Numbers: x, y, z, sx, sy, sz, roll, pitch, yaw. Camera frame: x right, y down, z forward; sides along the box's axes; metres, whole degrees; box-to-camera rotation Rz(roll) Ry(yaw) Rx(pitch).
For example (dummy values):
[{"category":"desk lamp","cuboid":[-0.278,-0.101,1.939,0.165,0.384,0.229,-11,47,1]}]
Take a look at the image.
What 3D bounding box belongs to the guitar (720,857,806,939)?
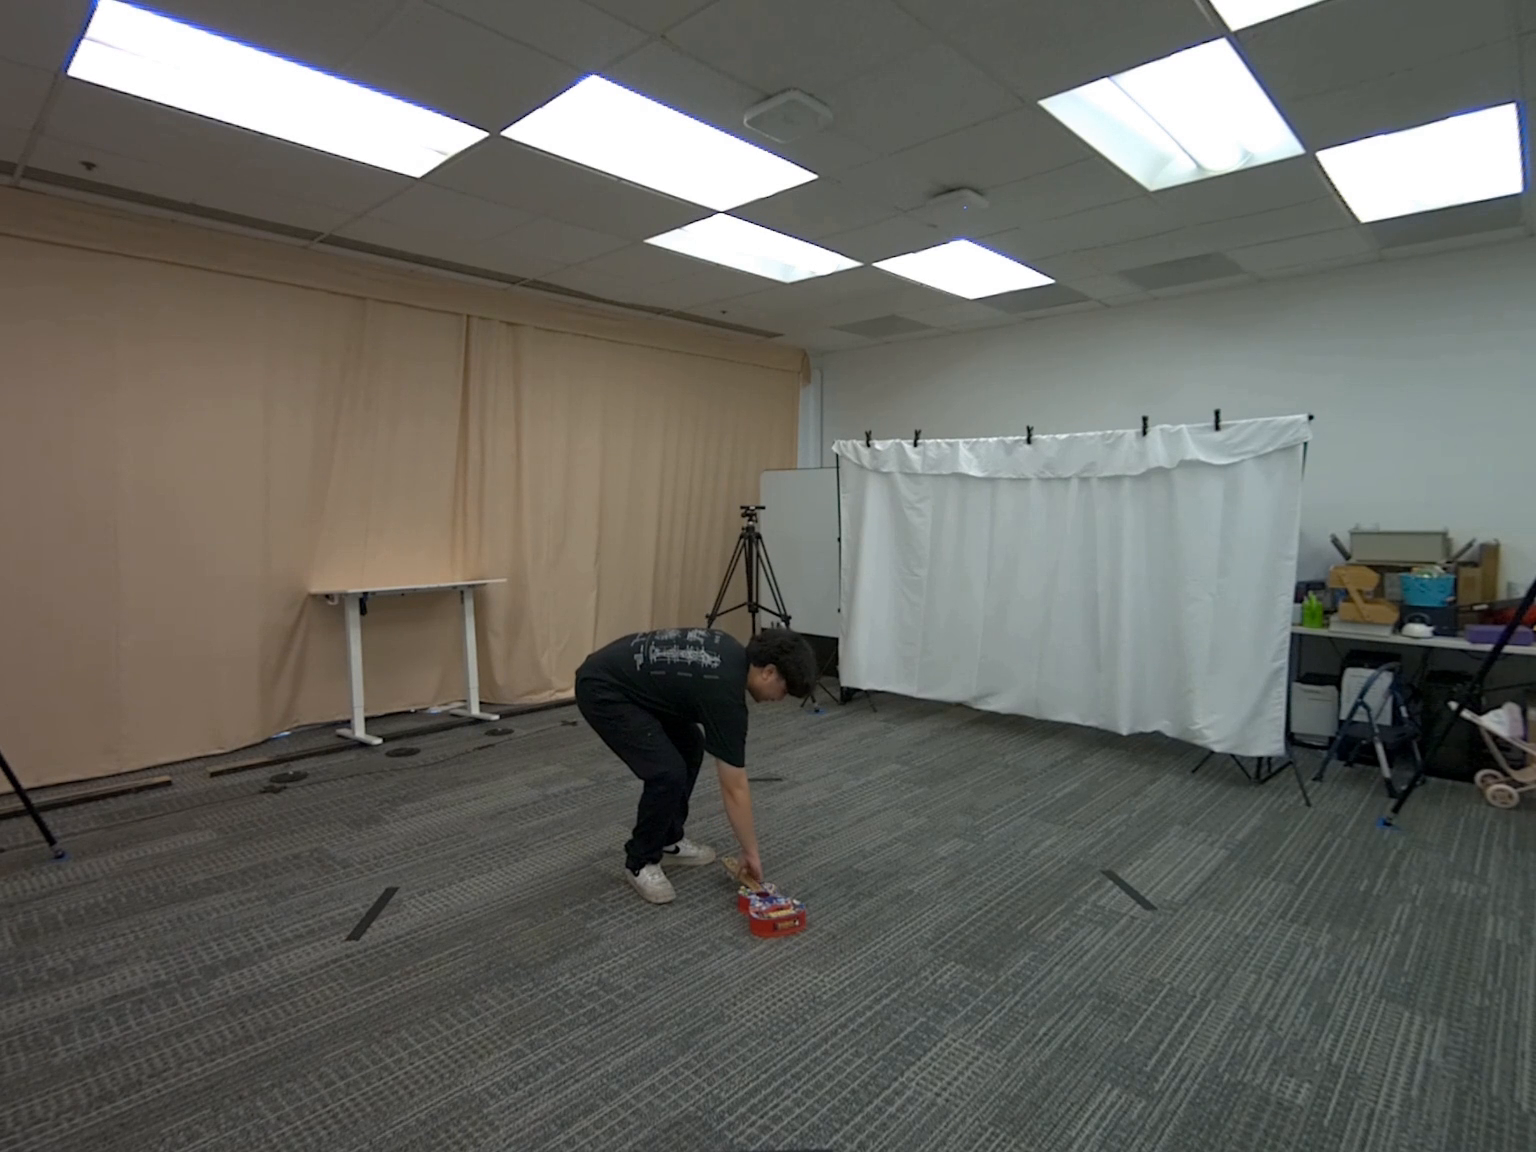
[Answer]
[{"category":"guitar","cuboid":[-0.020,1.111,2.963,0.190,0.070,0.507,-2,6,-16]}]
